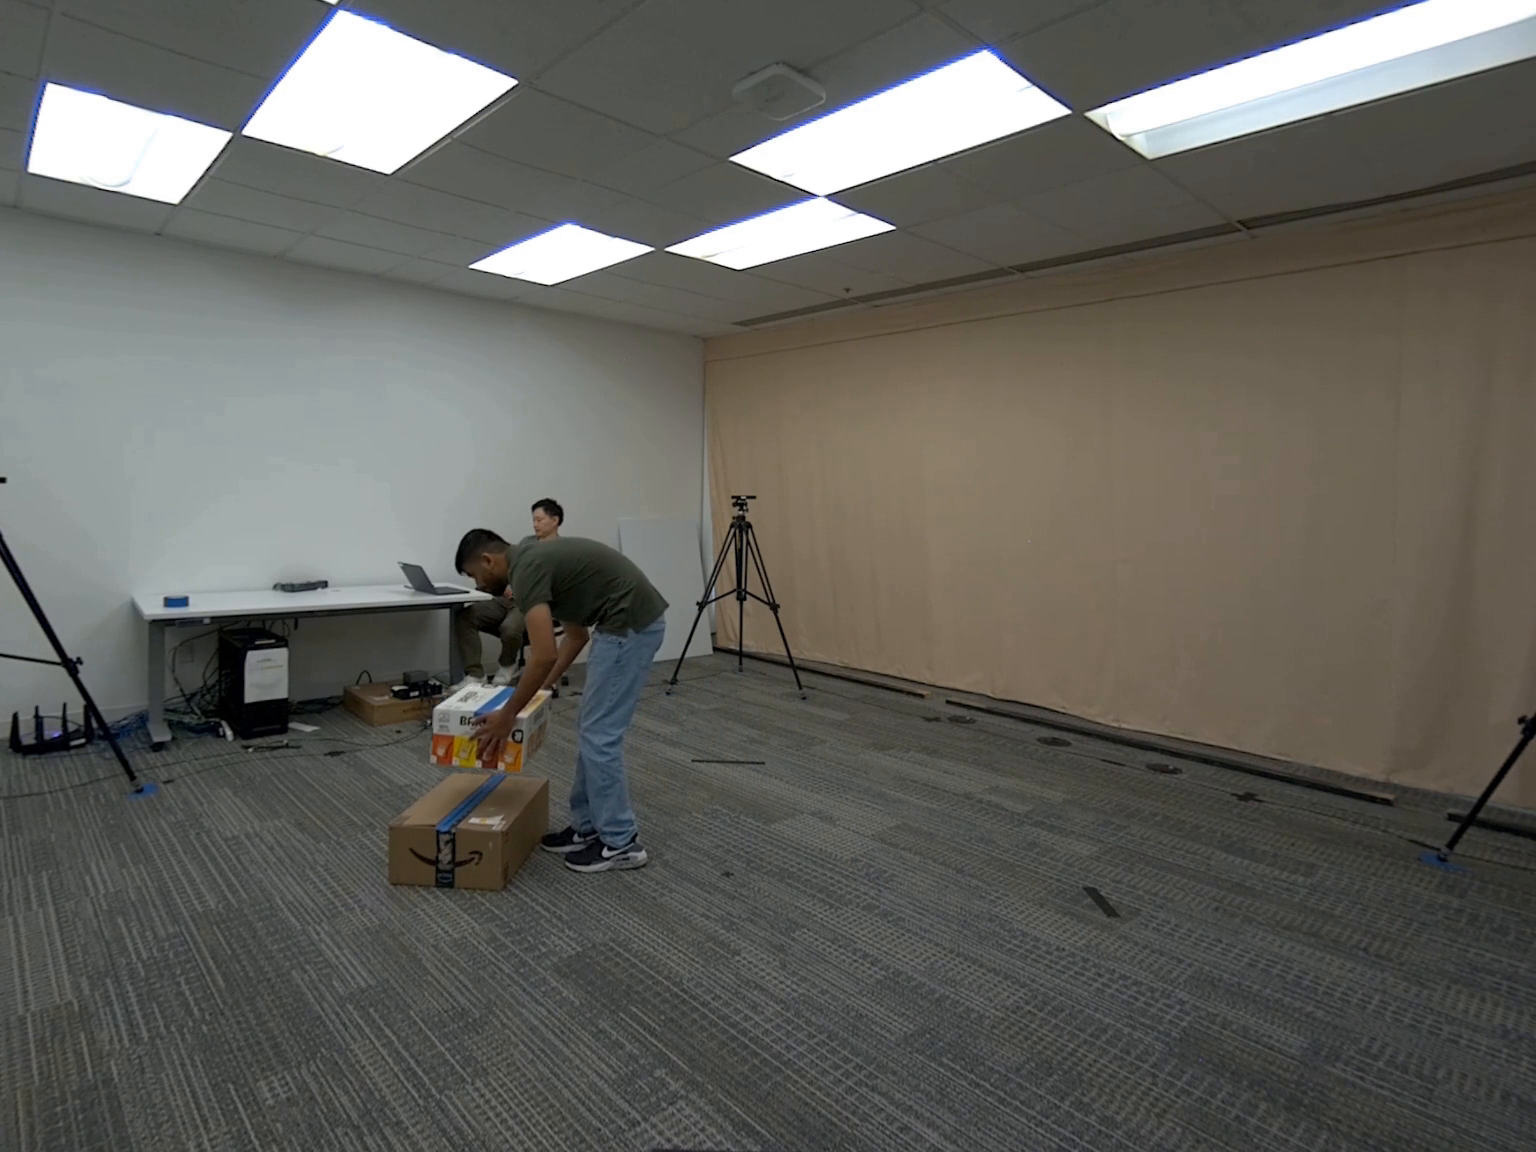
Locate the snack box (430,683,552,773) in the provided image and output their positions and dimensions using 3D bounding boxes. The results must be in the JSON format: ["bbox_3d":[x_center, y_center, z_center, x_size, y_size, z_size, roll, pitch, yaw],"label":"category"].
[{"bbox_3d":[-1.051,0.566,3.233,0.341,0.205,0.406,5,5,0],"label":"snack box"}]
